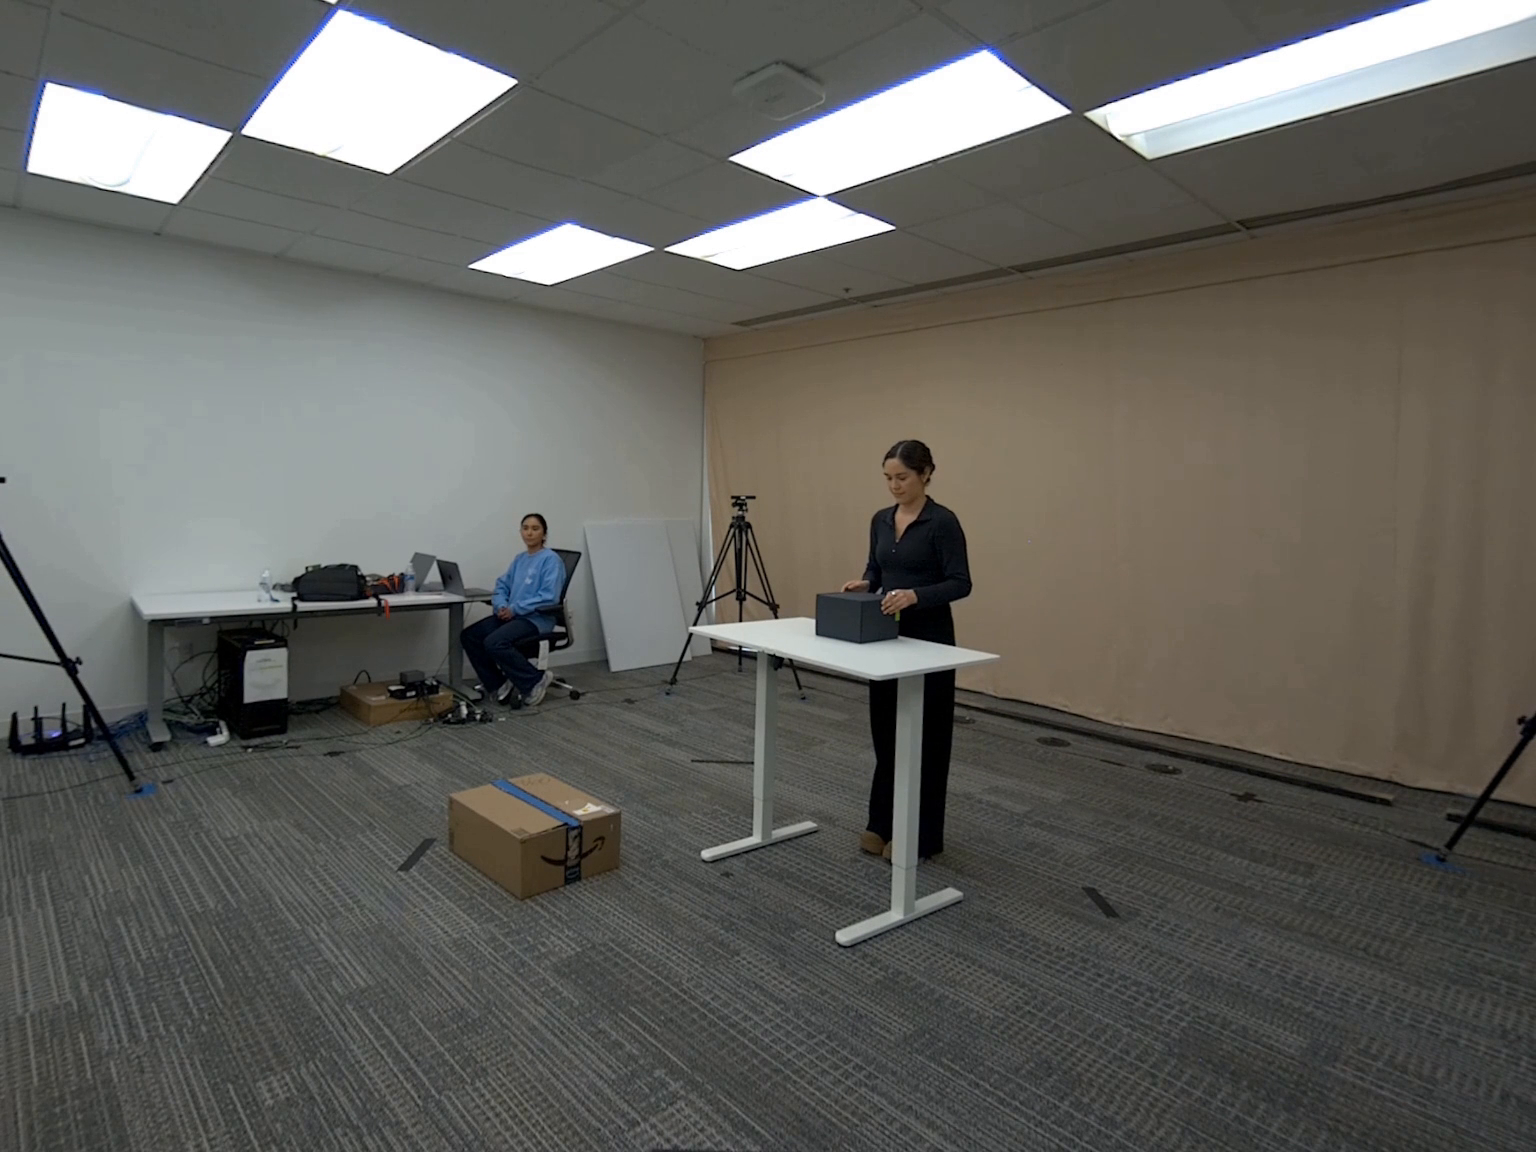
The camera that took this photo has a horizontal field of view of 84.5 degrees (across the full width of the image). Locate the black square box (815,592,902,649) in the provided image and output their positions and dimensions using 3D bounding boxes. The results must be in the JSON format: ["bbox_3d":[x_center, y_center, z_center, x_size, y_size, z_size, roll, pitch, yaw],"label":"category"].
[{"bbox_3d":[0.337,0.157,3.126,0.212,0.155,0.234,-3,8,-40],"label":"black square box"}]
